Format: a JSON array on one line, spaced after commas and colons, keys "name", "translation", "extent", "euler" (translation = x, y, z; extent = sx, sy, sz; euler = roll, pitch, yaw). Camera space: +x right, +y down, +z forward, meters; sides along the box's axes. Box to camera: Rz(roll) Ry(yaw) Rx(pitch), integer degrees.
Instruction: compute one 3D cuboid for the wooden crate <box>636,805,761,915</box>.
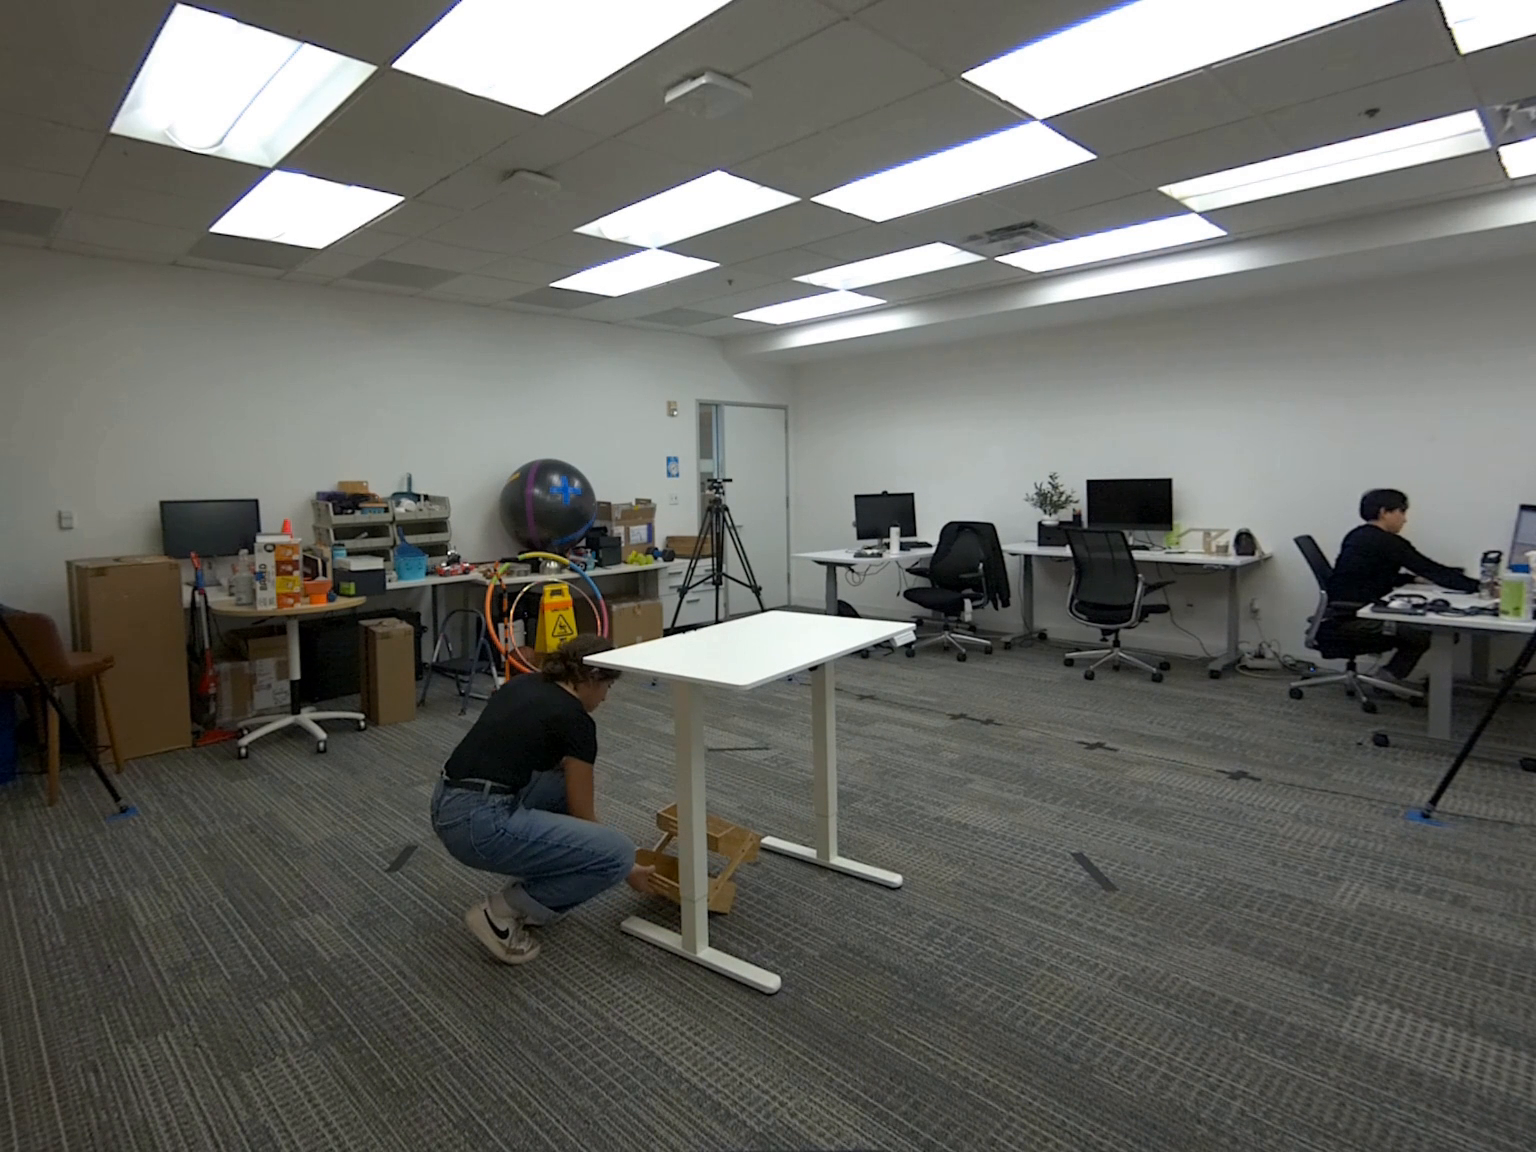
[{"name": "wooden crate", "translation": [-0.252, 0.920, 2.834], "extent": [0.335, 0.275, 0.290], "euler": [7, -19, 41]}]
